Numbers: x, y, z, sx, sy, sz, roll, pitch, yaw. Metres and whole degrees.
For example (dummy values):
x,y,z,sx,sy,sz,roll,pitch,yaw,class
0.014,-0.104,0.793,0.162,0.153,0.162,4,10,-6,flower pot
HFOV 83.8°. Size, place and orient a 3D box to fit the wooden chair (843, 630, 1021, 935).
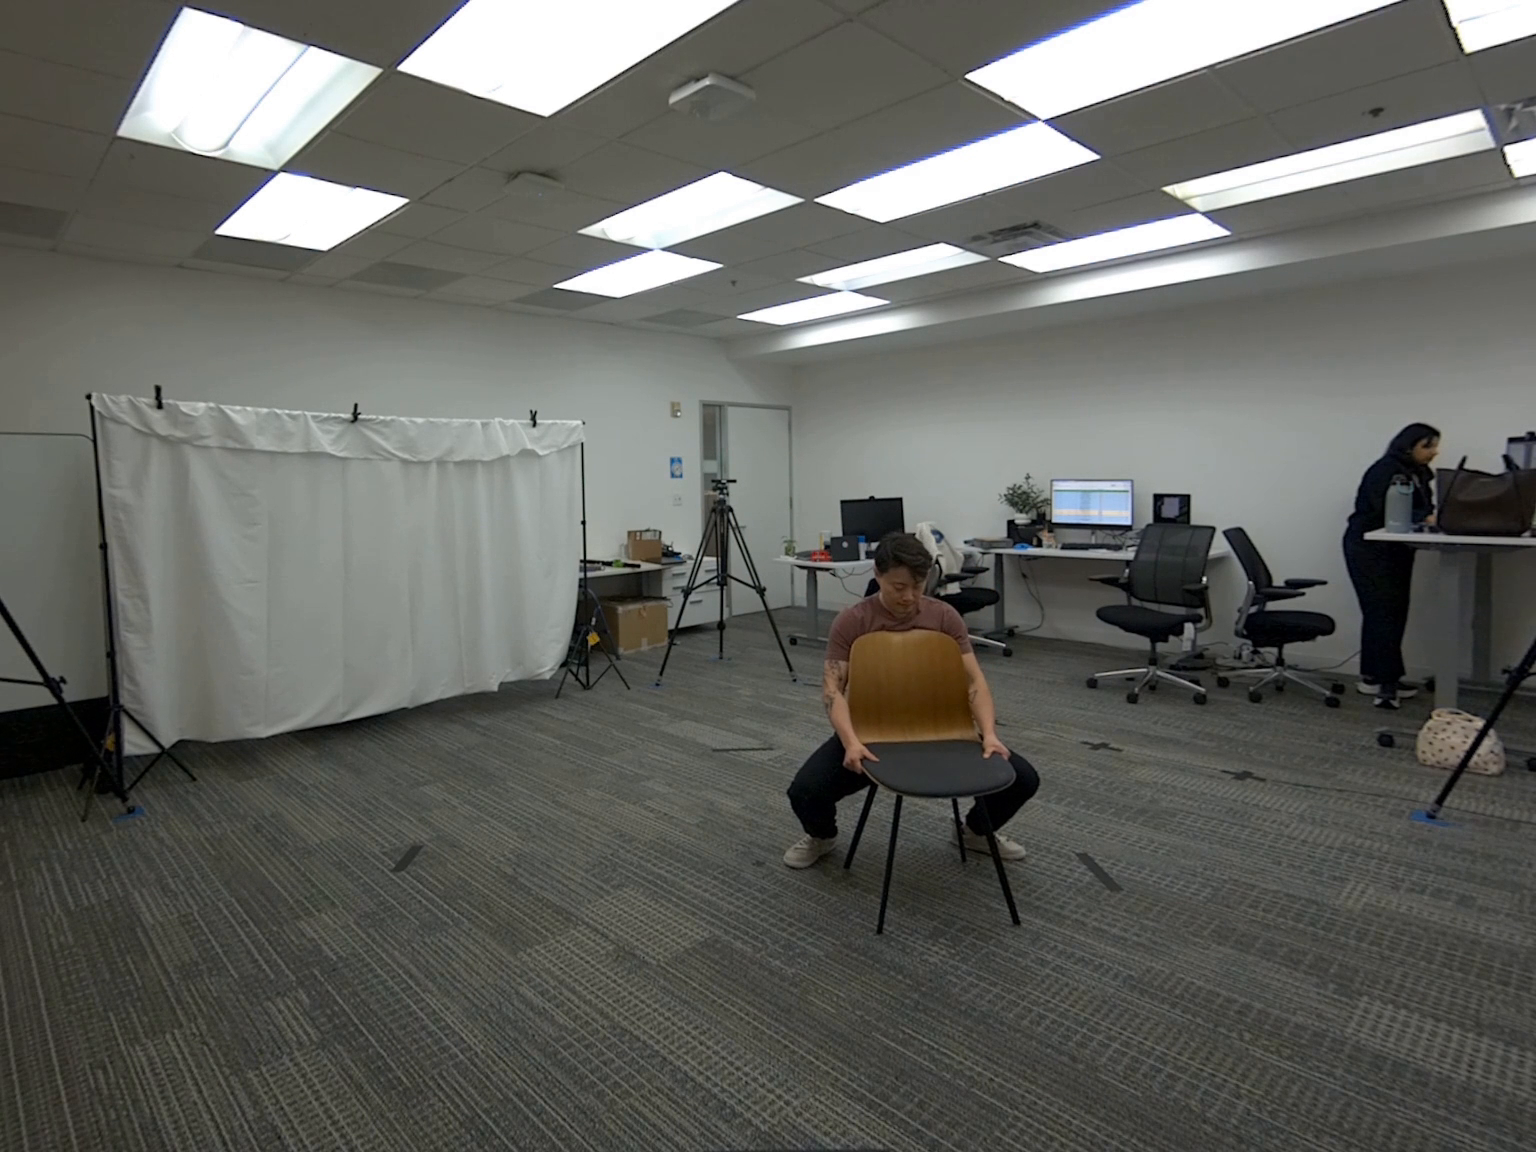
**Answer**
x,y,z,sx,sy,sz,roll,pitch,yaw,class
0.520,0.649,2.796,0.475,0.877,0.526,0,1,-6,wooden chair
